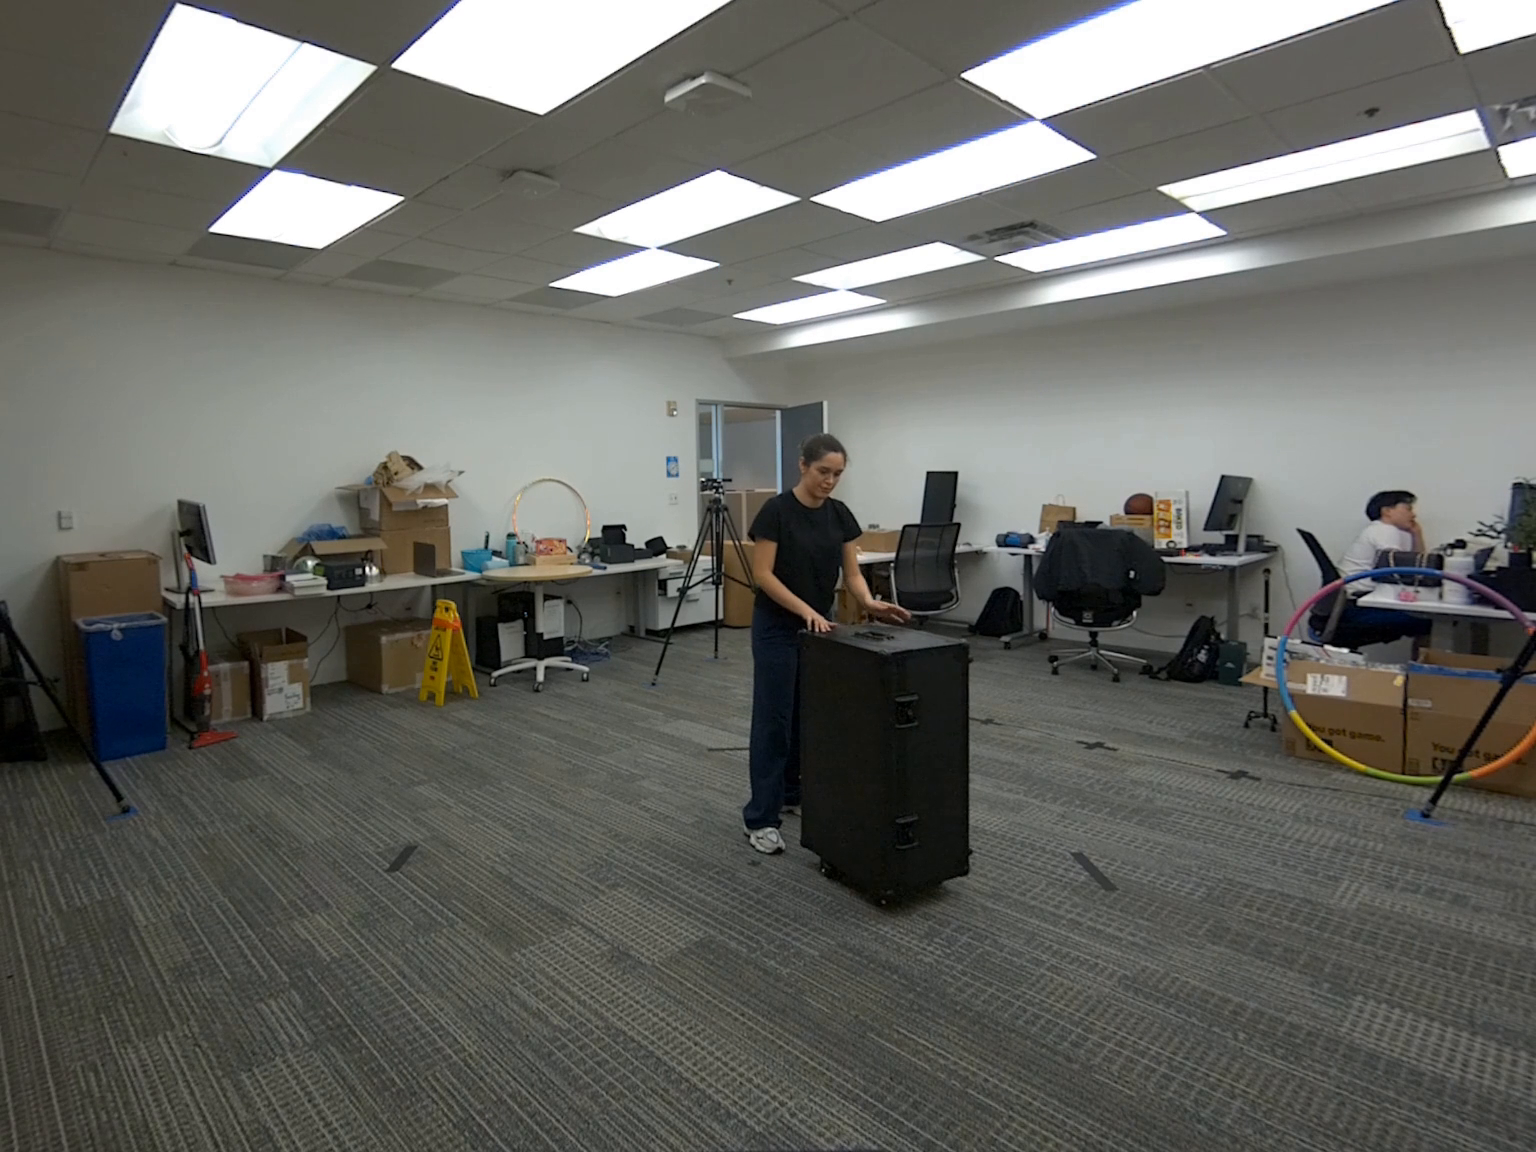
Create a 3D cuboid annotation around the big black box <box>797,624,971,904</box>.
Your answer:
[{"bbox_3d":[0.393,0.627,2.970,0.387,0.859,0.535,-2,4,-30],"label":"big black box"}]
